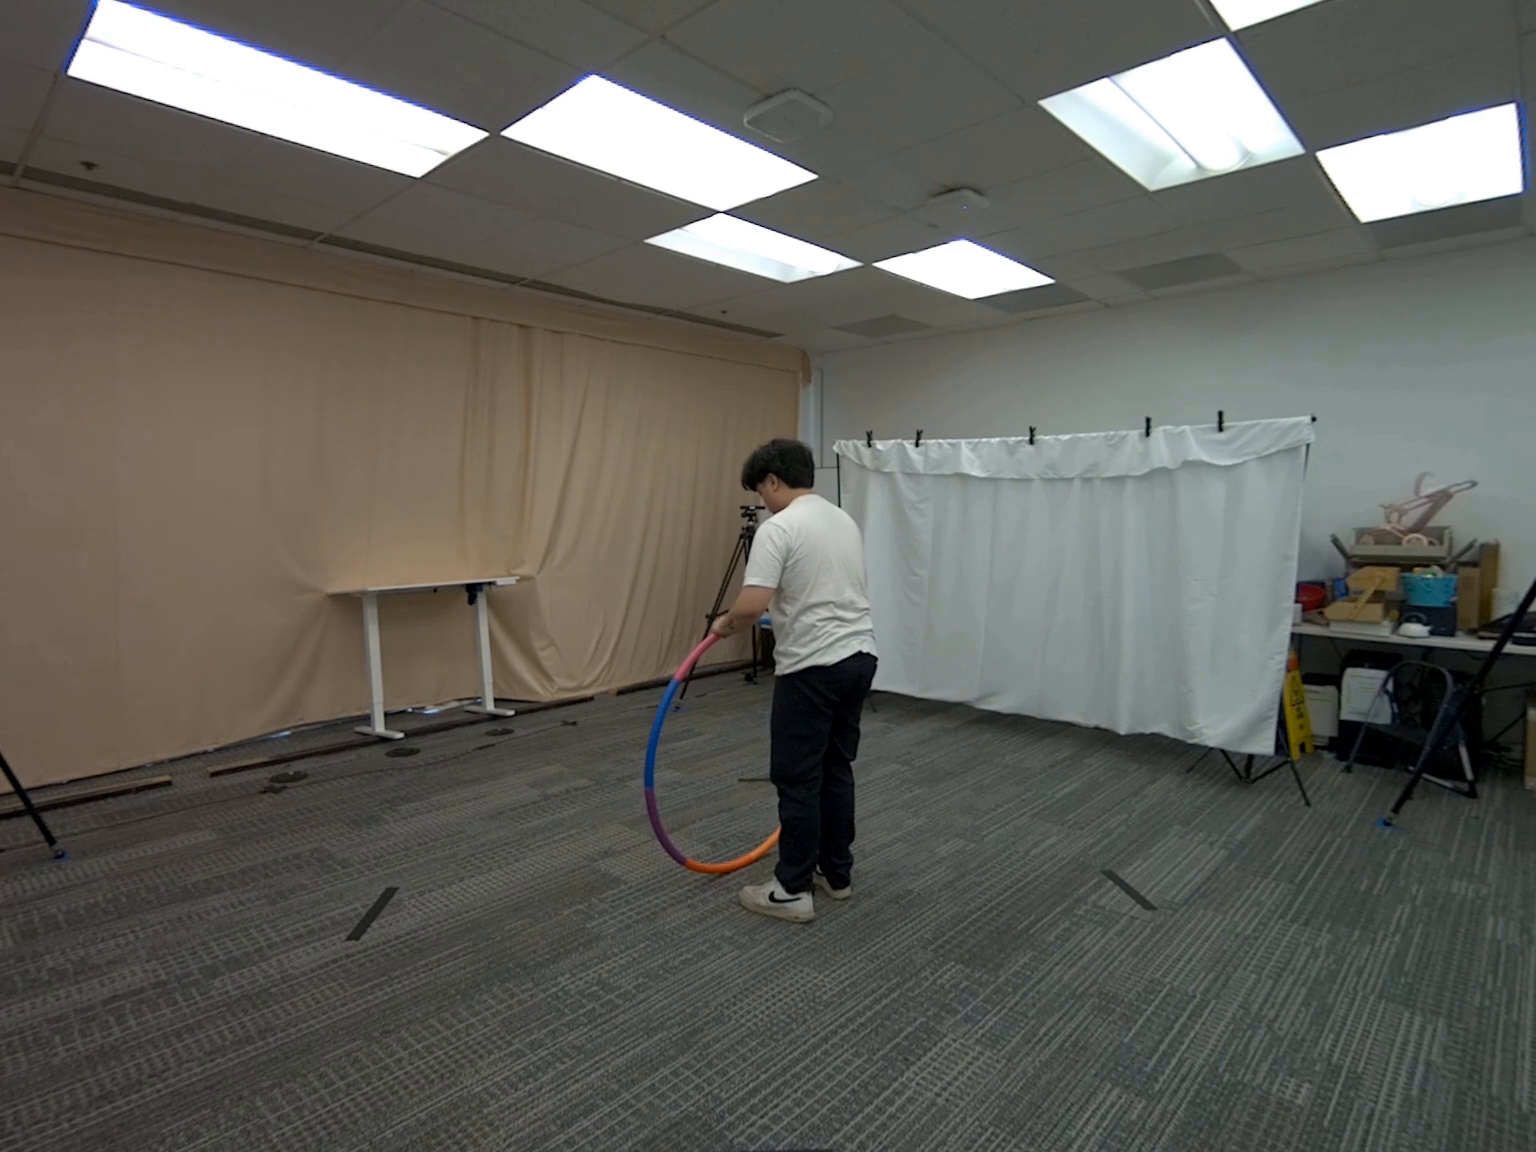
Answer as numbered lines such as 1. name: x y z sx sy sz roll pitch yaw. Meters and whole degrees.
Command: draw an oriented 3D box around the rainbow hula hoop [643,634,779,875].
1. rainbow hula hoop: -0.082 0.641 3.207 0.053 0.982 0.955 9 9 44
